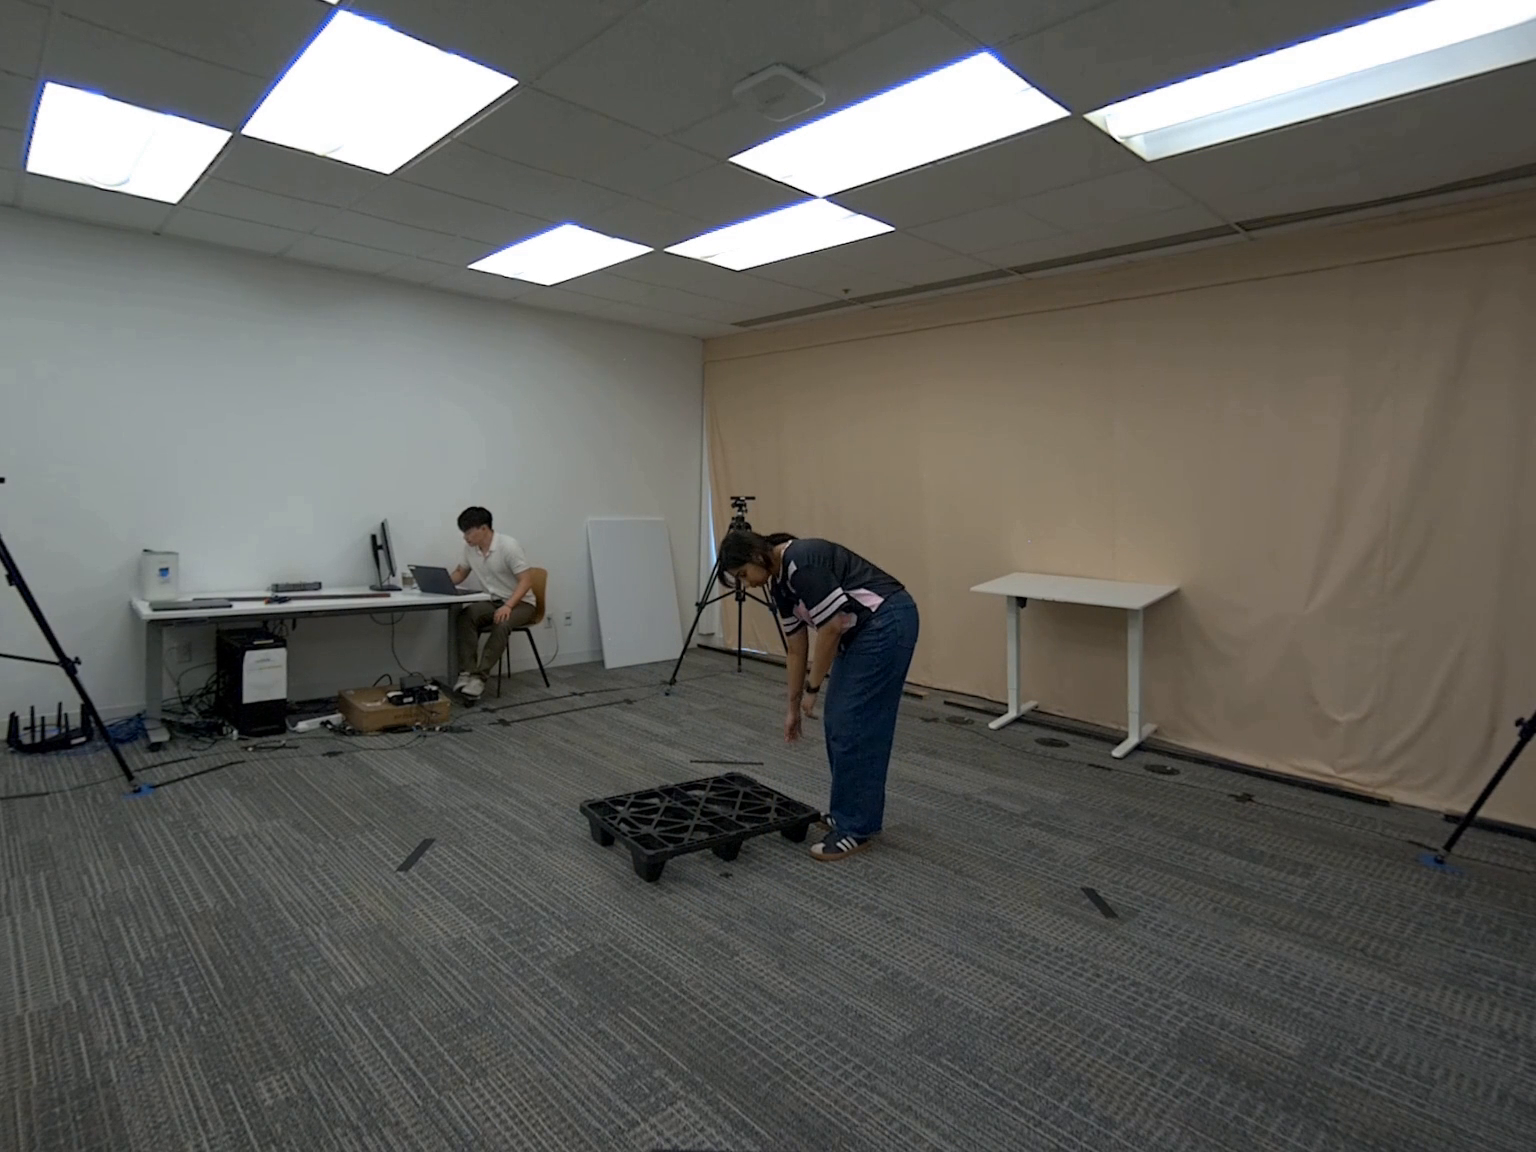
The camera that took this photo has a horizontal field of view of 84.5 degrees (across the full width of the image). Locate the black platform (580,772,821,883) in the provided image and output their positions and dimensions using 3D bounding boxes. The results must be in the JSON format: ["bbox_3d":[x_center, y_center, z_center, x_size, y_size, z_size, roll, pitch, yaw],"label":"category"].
[{"bbox_3d":[-0.292,1.009,3.419,0.788,0.143,0.620,-2,5,-36],"label":"black platform"}]
